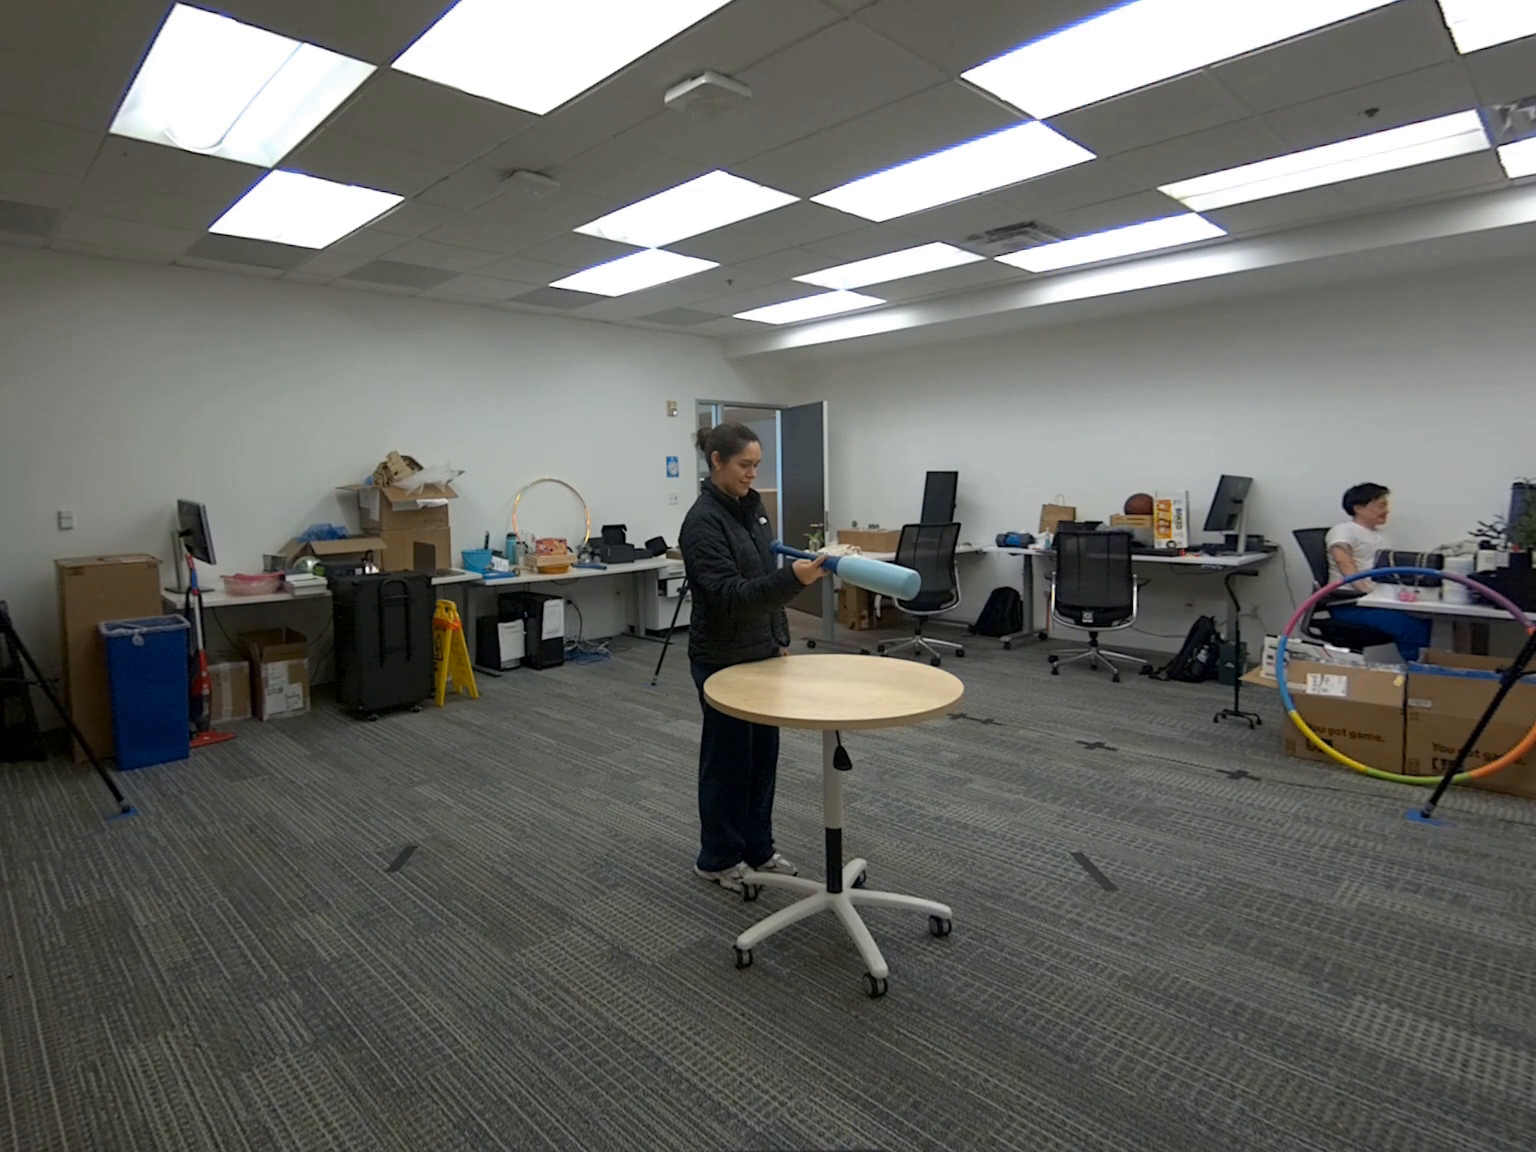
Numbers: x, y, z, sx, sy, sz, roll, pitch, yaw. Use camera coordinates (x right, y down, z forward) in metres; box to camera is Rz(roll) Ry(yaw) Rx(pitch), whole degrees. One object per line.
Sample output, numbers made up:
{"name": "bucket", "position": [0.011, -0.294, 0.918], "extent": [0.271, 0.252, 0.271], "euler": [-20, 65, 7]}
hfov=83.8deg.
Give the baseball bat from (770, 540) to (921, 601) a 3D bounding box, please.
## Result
{"name": "baseball bat", "position": [0.206, -0.028, 2.553], "extent": [0.087, 0.088, 0.562], "euler": [-5, 15, -43]}
